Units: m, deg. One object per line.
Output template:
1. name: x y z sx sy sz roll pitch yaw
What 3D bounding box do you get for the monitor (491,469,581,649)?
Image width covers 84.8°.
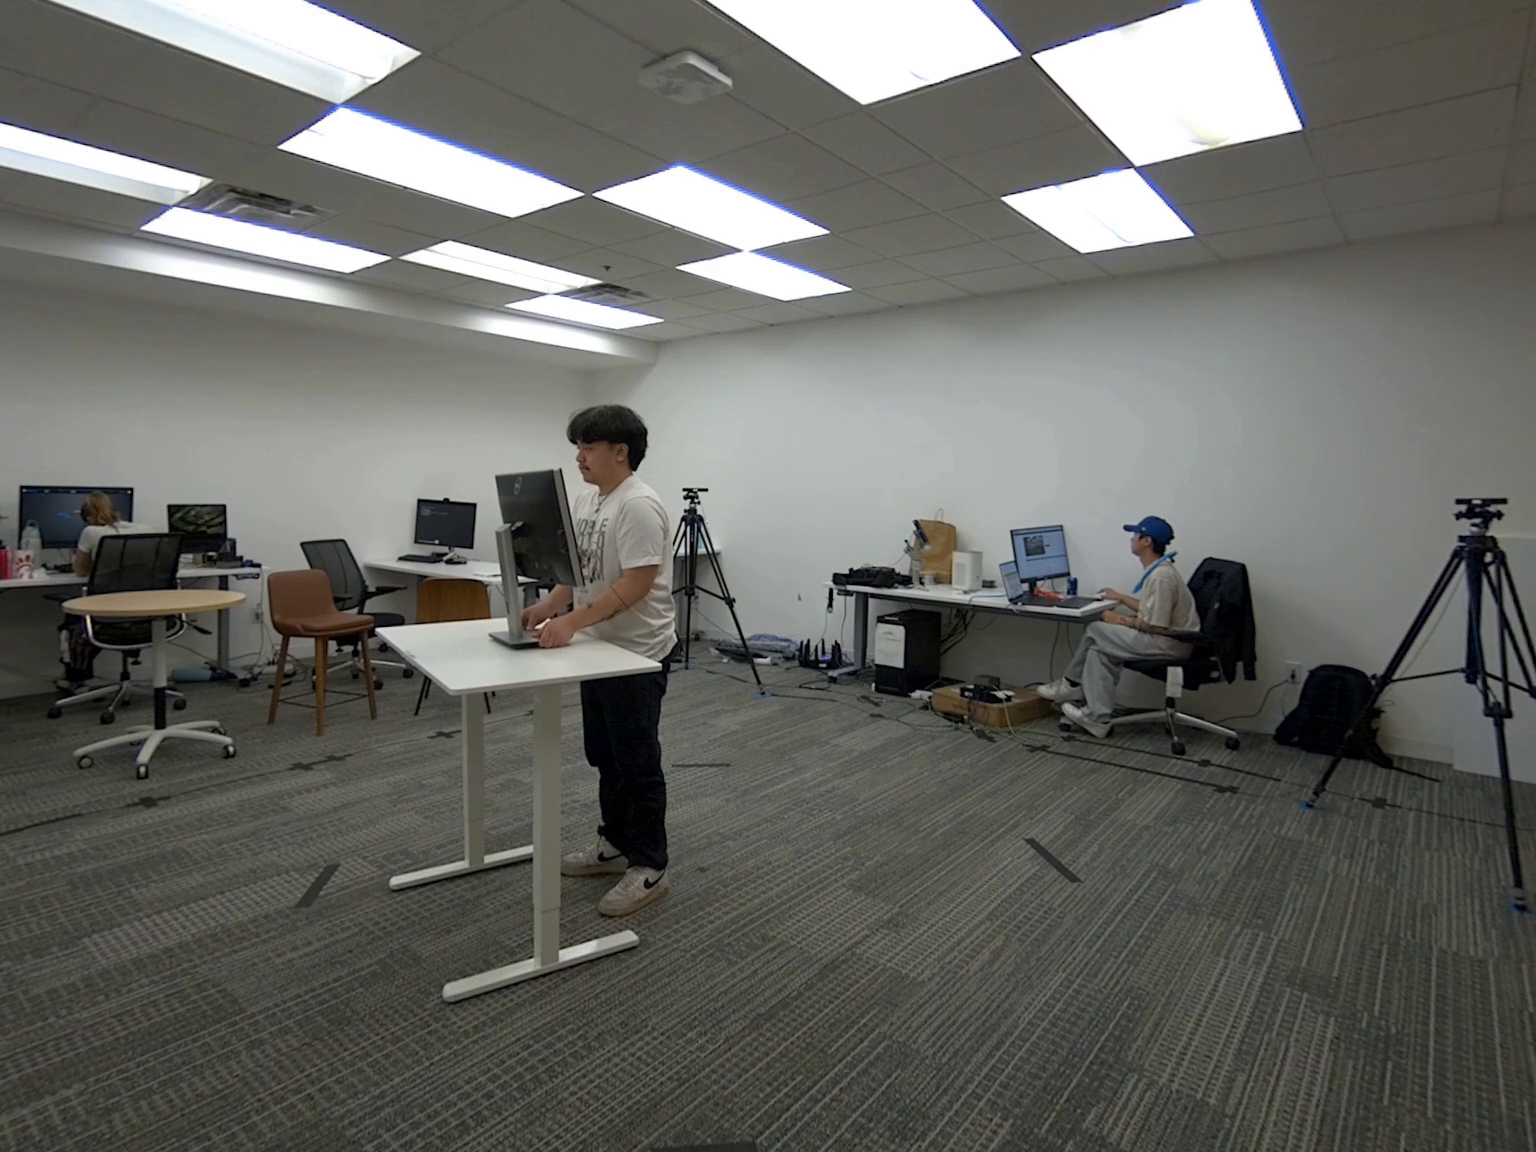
1. monitor: -0.804 -0.061 2.728 0.205 0.550 0.583 -9 8 -34
